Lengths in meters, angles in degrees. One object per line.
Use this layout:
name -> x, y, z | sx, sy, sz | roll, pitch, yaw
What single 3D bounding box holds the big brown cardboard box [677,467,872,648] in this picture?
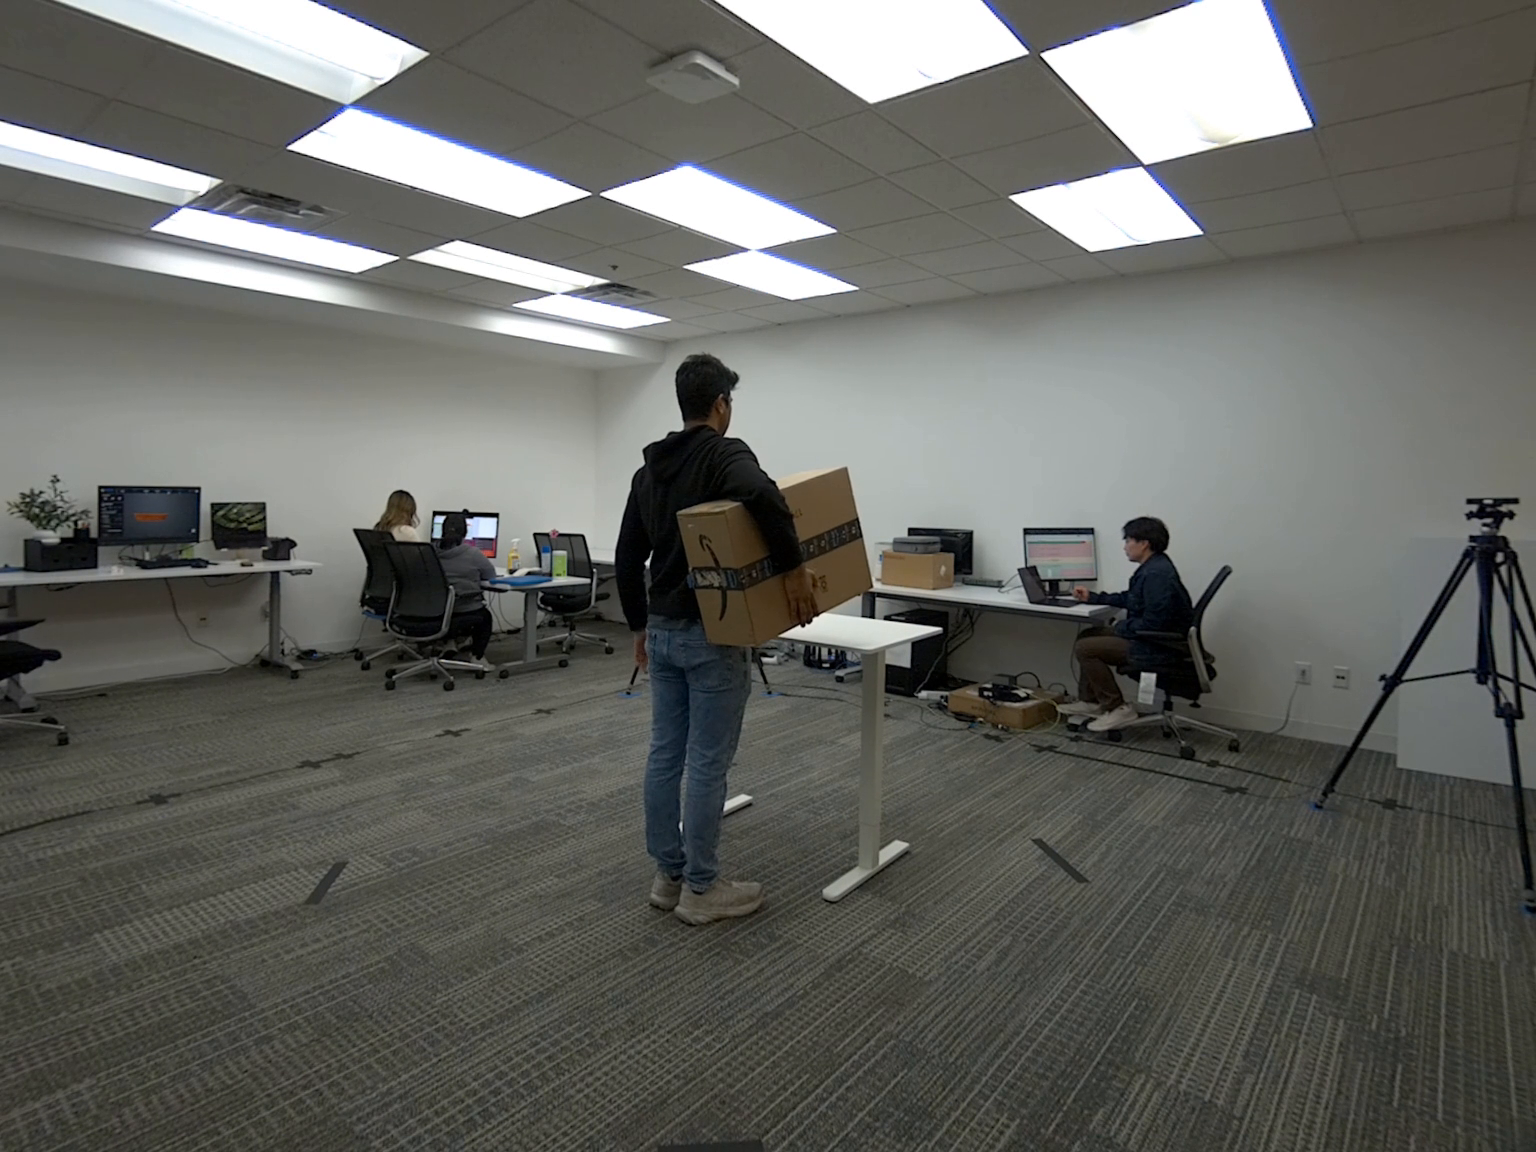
big brown cardboard box -> 0.022, -0.069, 2.665 | 0.578, 0.413, 0.240 | -22, 14, -40
